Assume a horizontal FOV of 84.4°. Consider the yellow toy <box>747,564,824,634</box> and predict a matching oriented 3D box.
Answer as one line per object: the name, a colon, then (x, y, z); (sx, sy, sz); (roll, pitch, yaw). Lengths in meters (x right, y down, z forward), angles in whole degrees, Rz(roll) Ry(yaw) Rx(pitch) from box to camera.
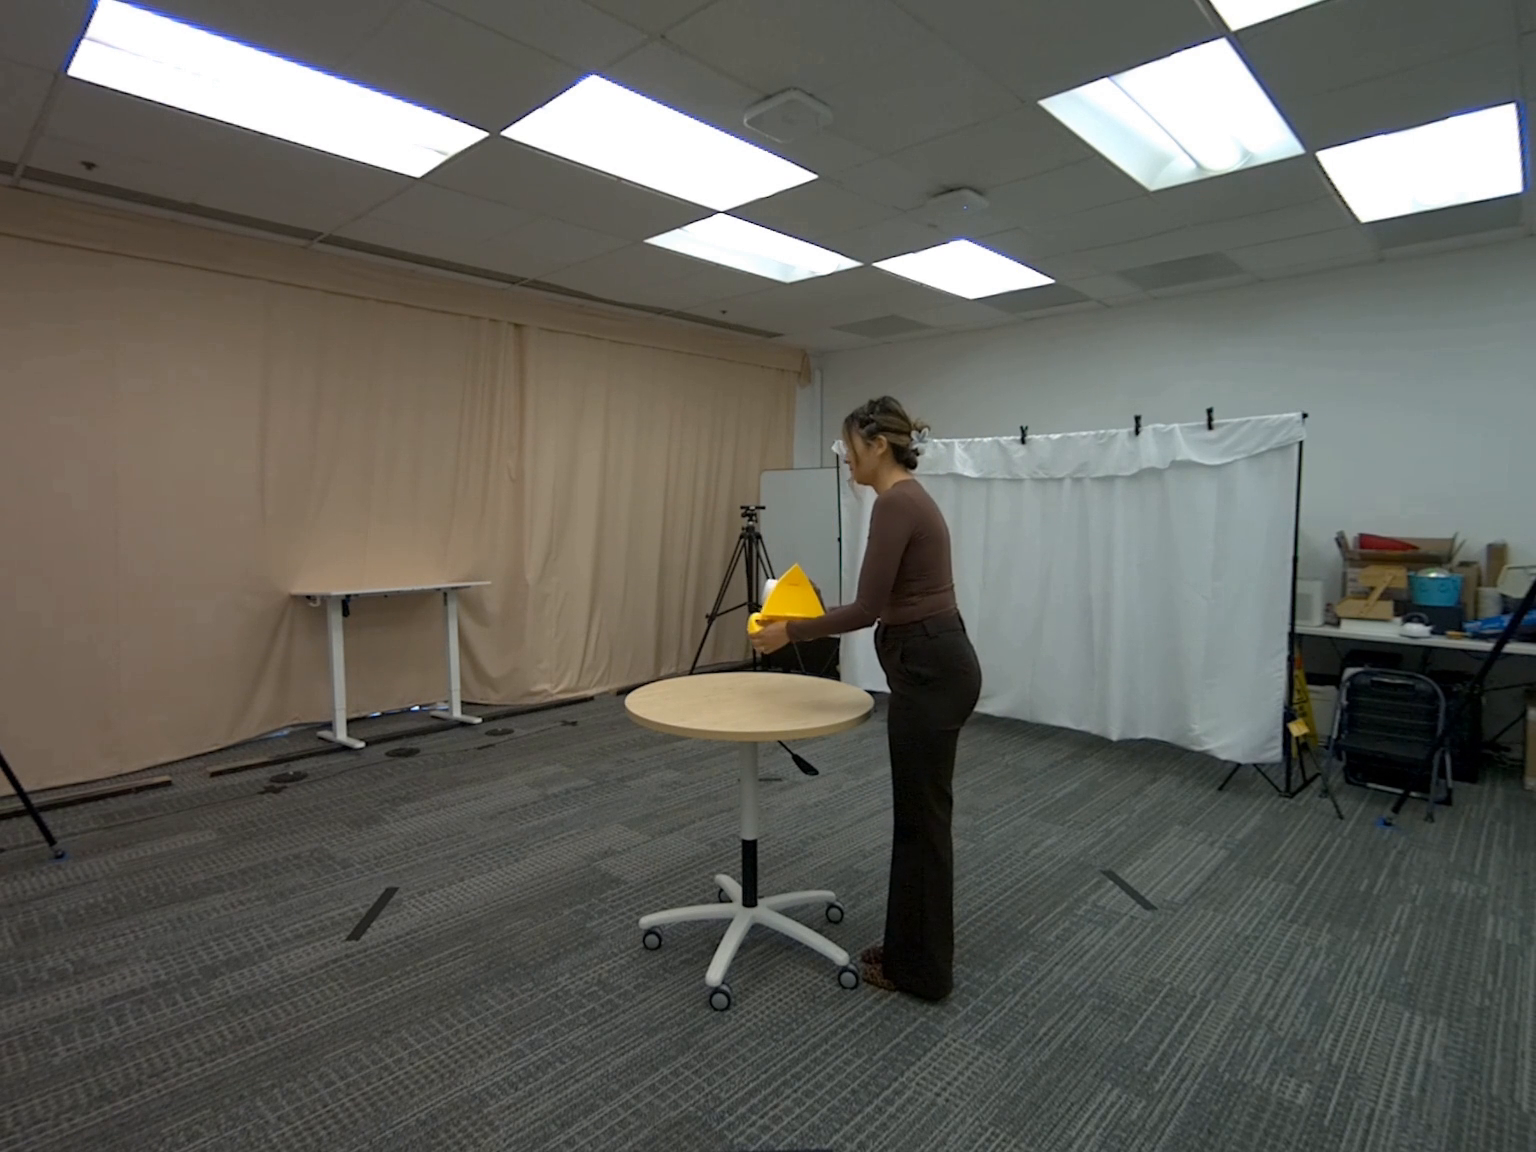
yellow toy: (0.057, 0.065, 2.545); (0.201, 0.230, 0.197); (5, 8, -18)
